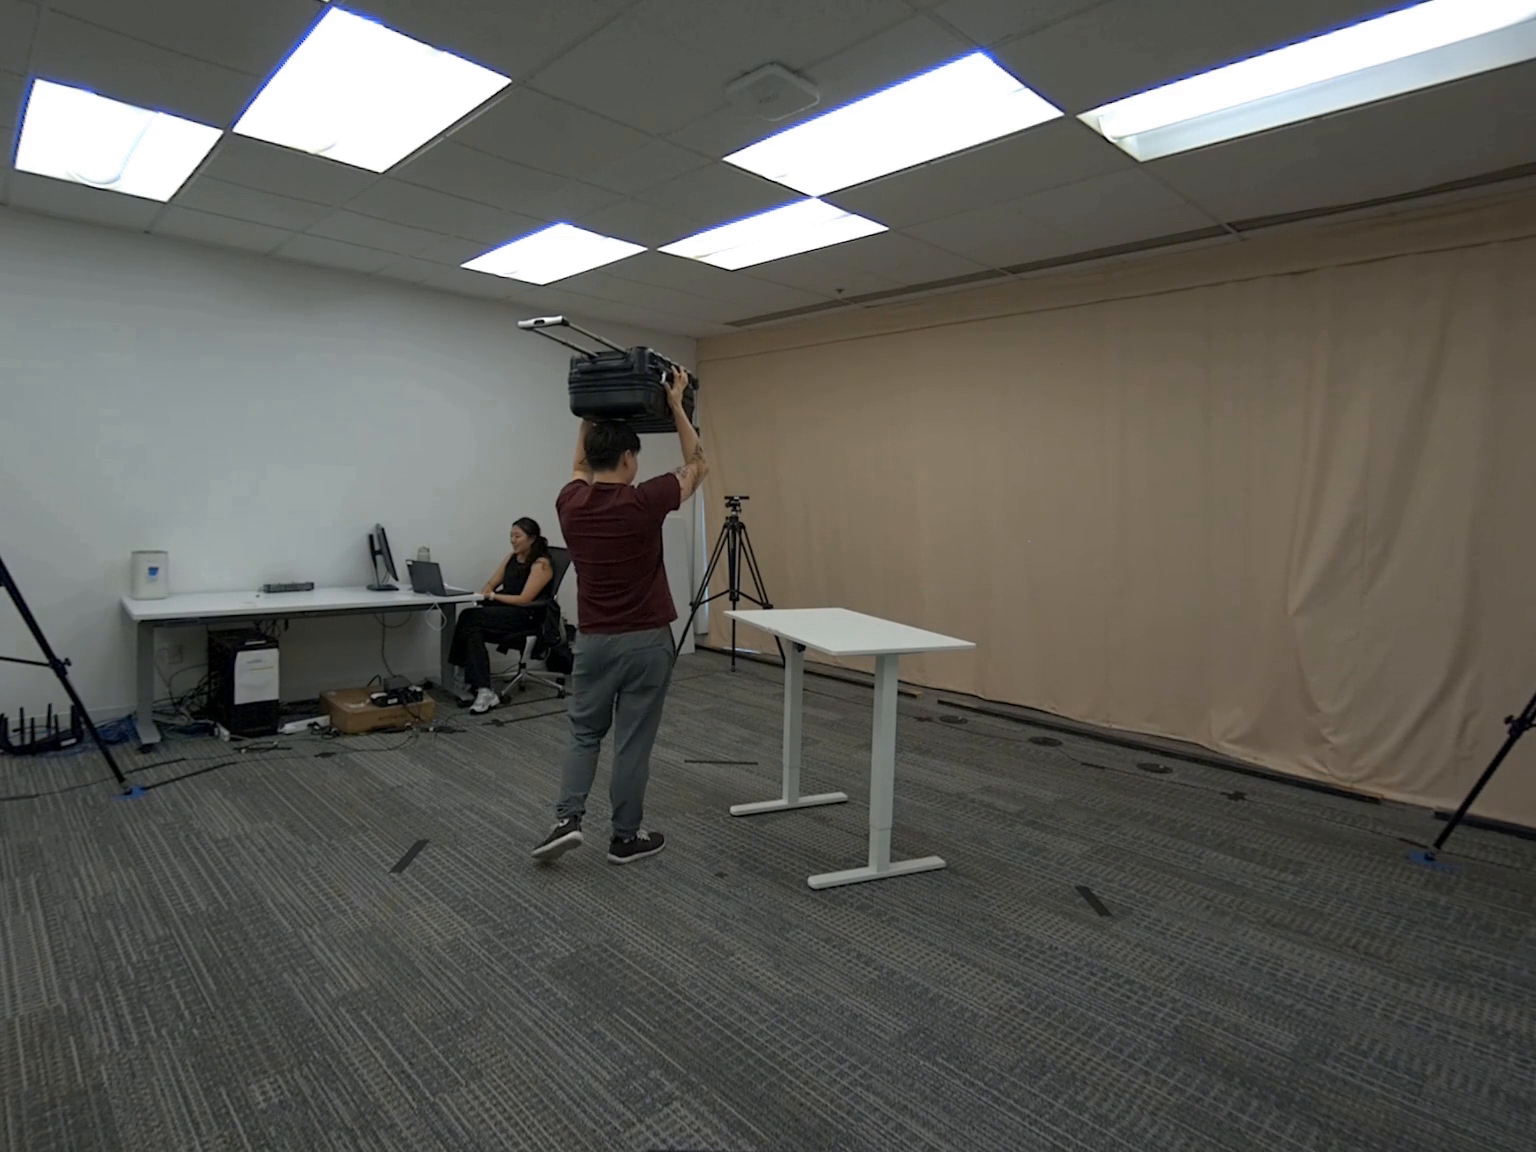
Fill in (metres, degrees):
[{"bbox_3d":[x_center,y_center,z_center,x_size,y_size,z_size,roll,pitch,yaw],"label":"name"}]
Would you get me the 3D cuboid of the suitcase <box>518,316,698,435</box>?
[{"bbox_3d":[-0.583,-0.710,3.093,0.389,0.257,0.965,-1,0,16],"label":"suitcase"}]
